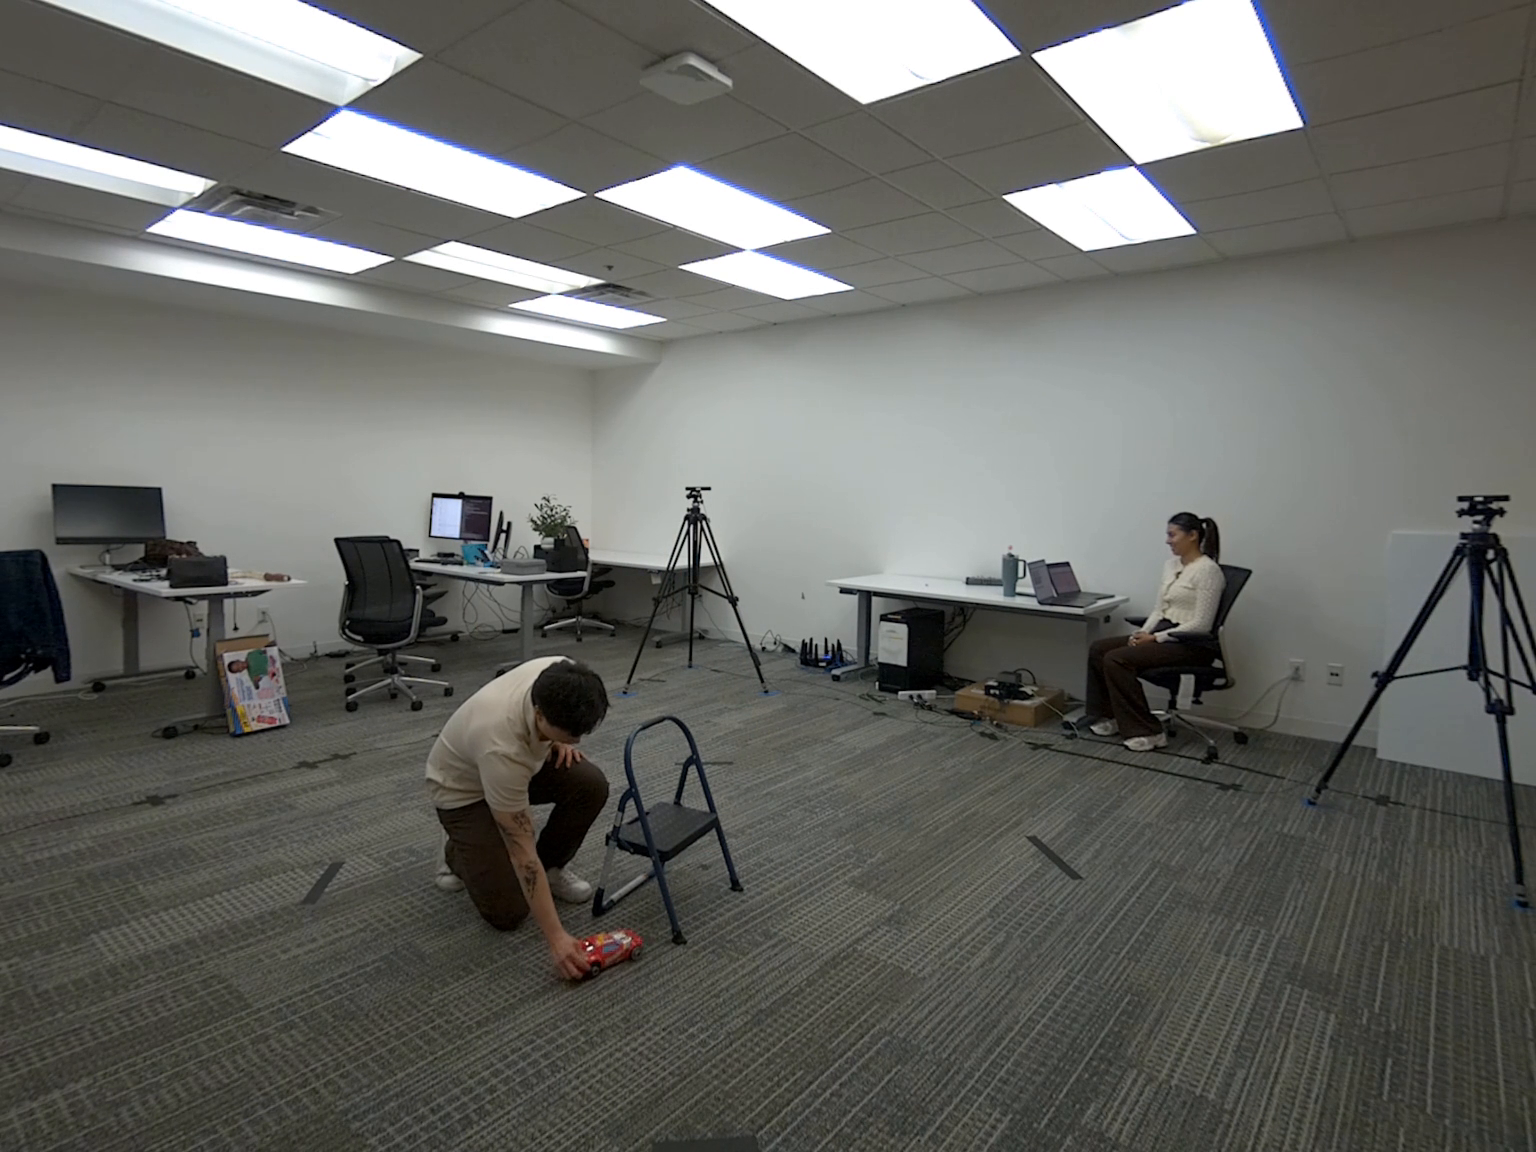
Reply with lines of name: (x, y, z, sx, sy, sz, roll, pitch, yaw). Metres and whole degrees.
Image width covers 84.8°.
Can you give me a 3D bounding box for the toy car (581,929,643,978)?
toy car: (-0.504, 1.096, 2.478, 0.245, 0.083, 0.135, 9, 2, -41)
